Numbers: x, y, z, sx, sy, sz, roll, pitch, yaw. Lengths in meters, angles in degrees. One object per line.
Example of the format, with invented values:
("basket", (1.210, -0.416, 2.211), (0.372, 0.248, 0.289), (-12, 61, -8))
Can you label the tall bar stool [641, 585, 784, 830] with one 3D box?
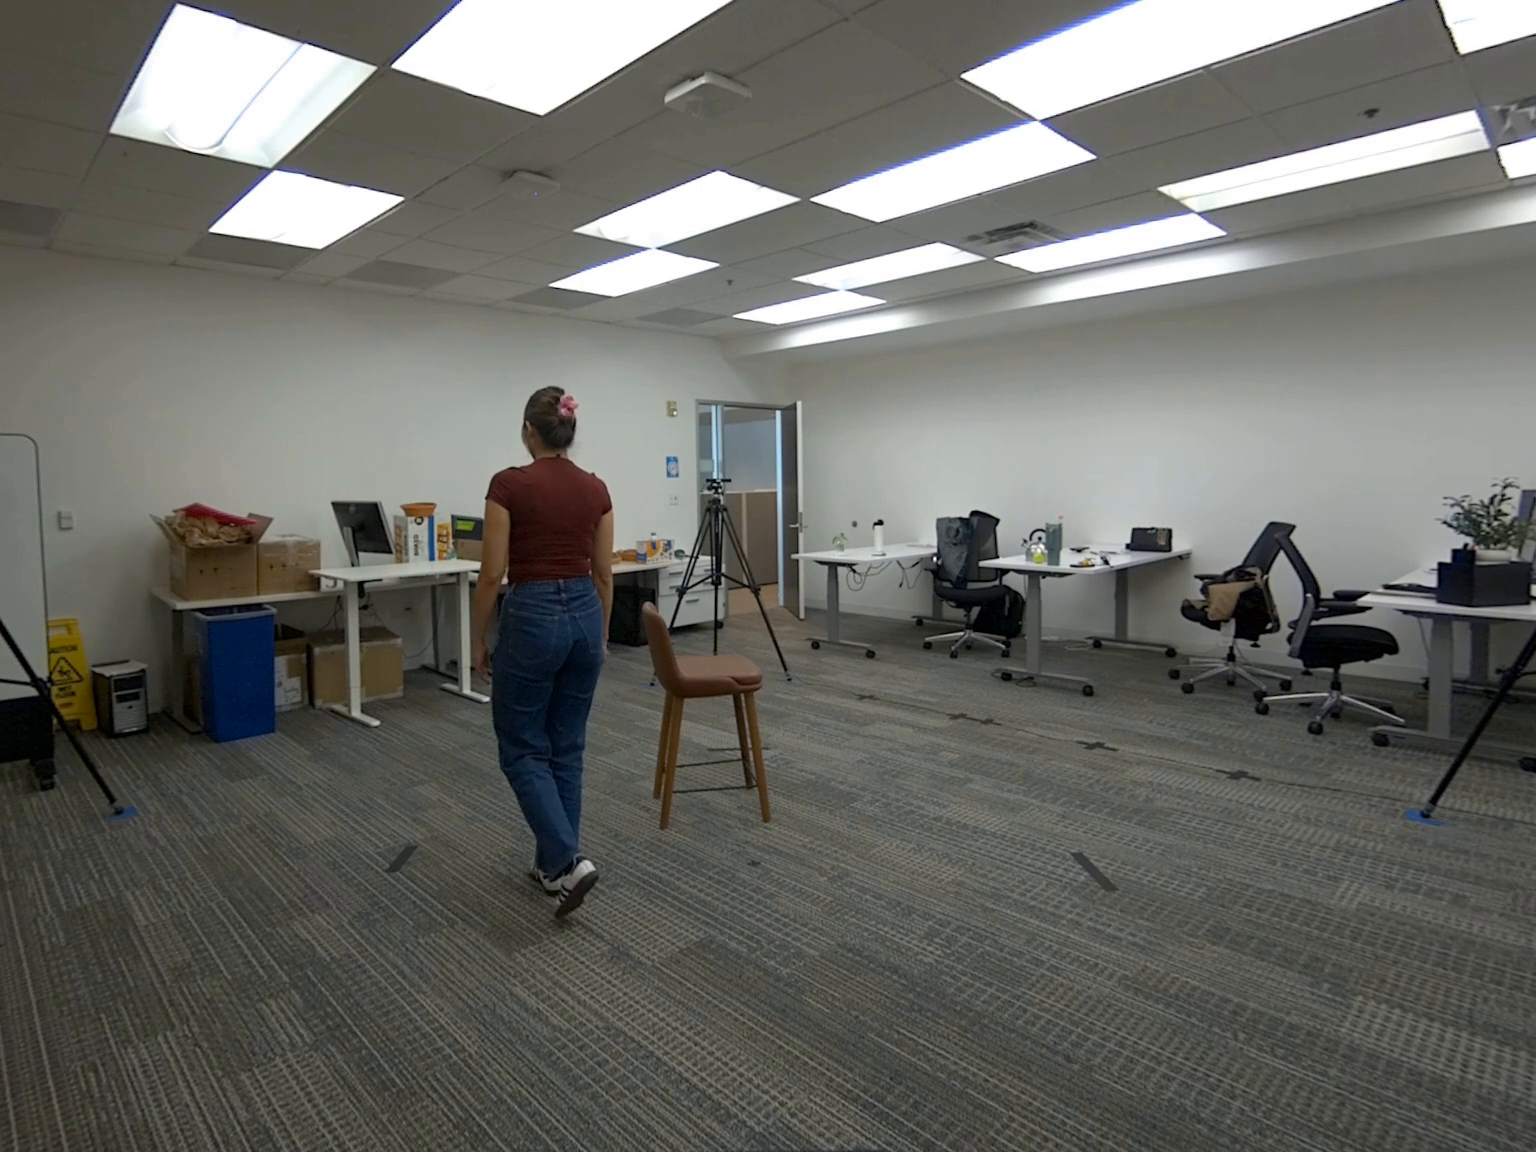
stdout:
("tall bar stool", (-0.267, 0.559, 3.618), (0.463, 0.887, 0.463), (-3, 4, -11))
